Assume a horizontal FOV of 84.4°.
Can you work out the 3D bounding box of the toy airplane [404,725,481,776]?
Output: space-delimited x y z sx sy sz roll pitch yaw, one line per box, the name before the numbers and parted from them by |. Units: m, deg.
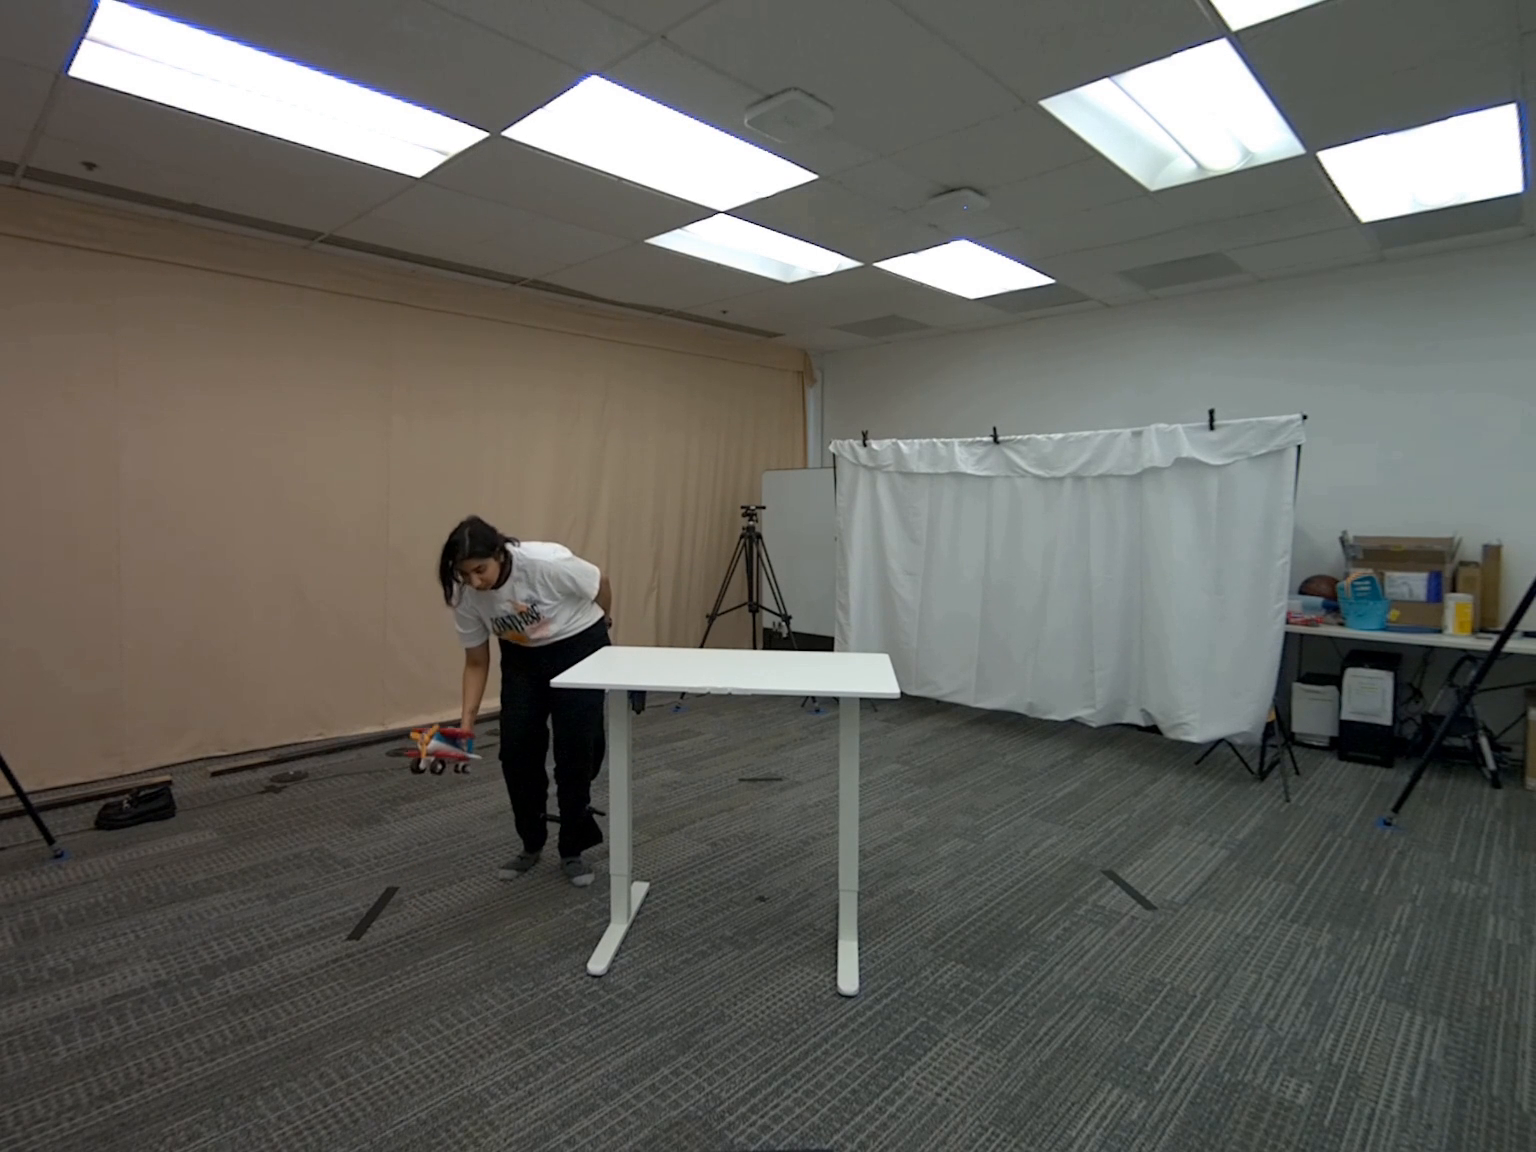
toy airplane | -1.135 0.615 2.941 0.250 0.157 0.258 0 -11 -3
